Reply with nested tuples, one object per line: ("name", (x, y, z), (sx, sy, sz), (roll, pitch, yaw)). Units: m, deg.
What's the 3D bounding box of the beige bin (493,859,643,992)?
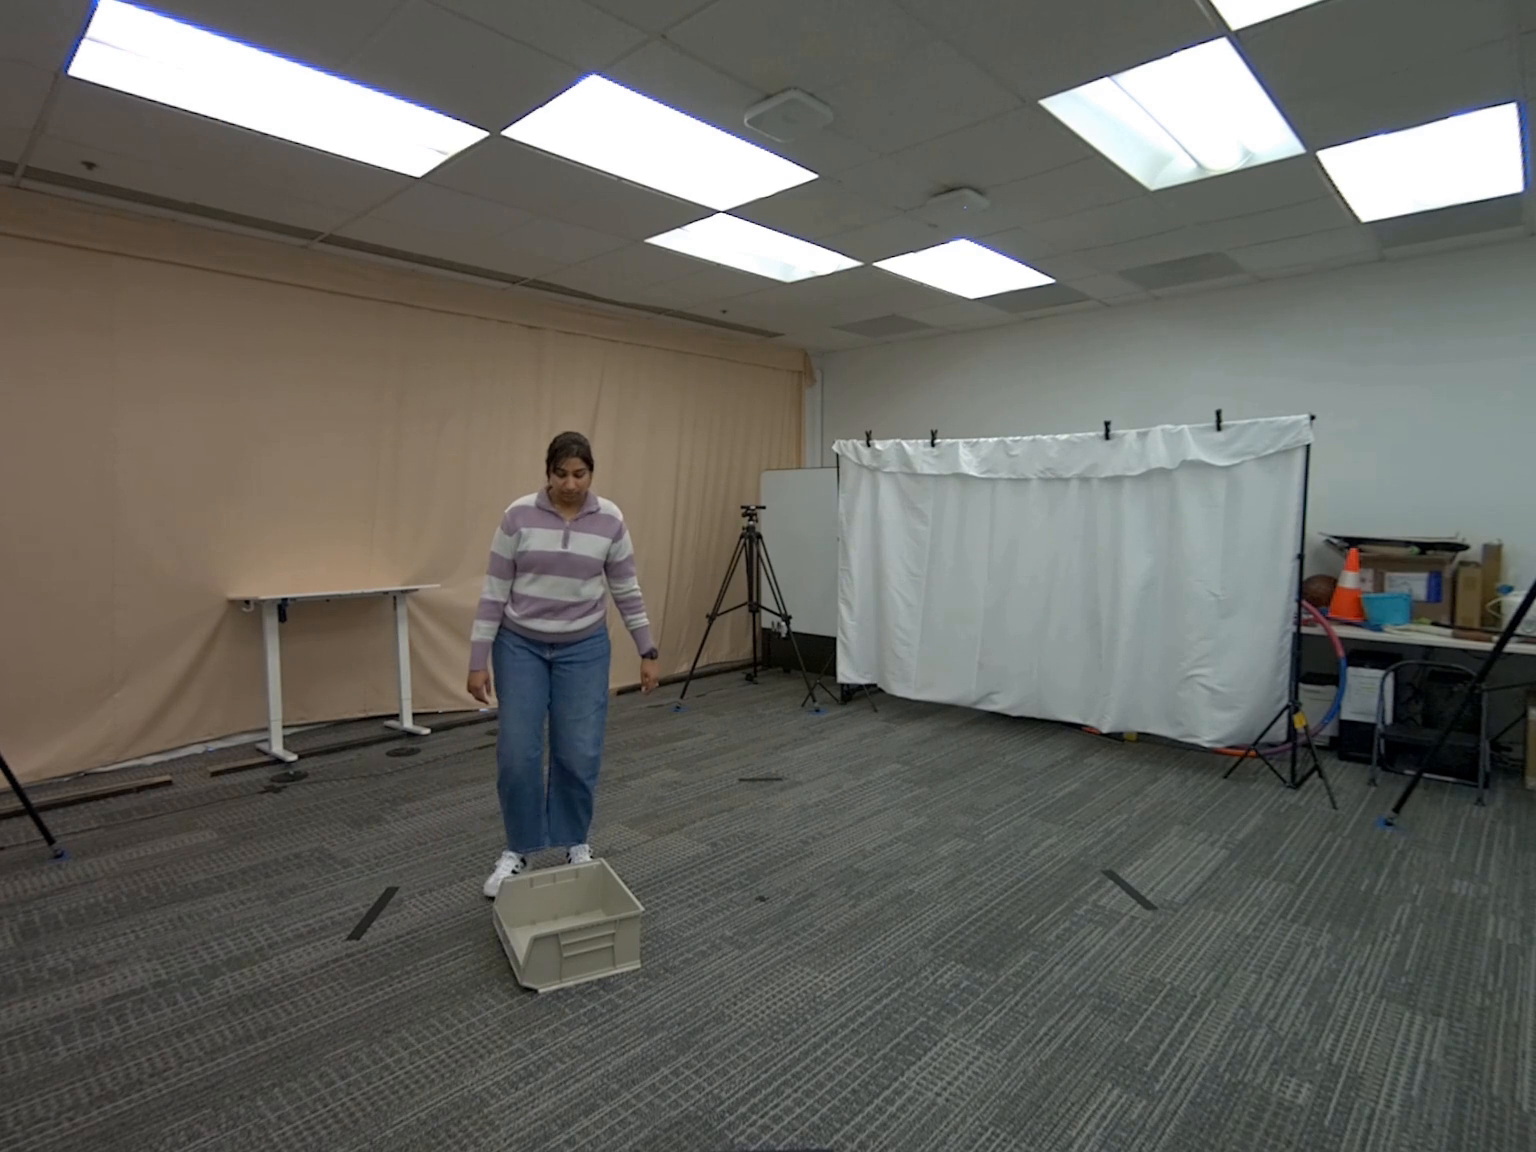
("beige bin", (-0.634, 1.088, 2.642), (0.368, 0.188, 0.434), (-1, 4, -28))
